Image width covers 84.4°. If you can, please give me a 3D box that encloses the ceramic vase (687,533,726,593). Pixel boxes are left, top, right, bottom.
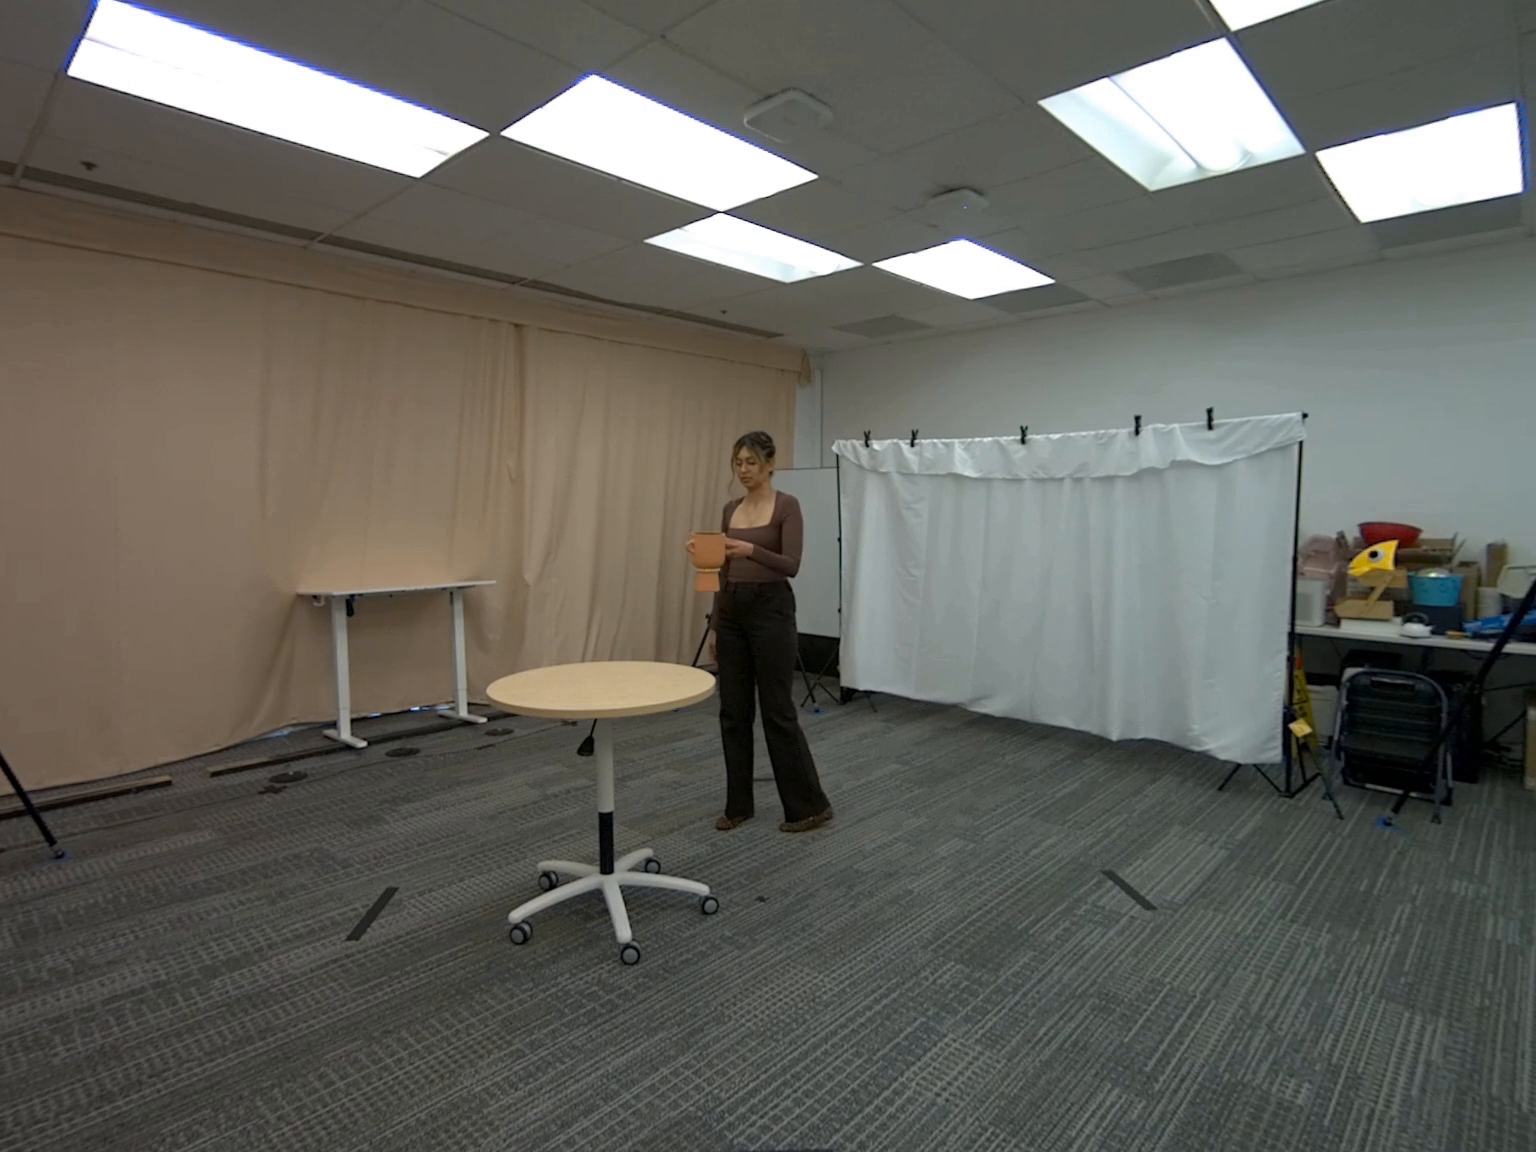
[{"bbox_3d":[-0.223,-0.053,3.253,0.160,0.219,0.134,0,7,5],"label":"ceramic vase"}]
